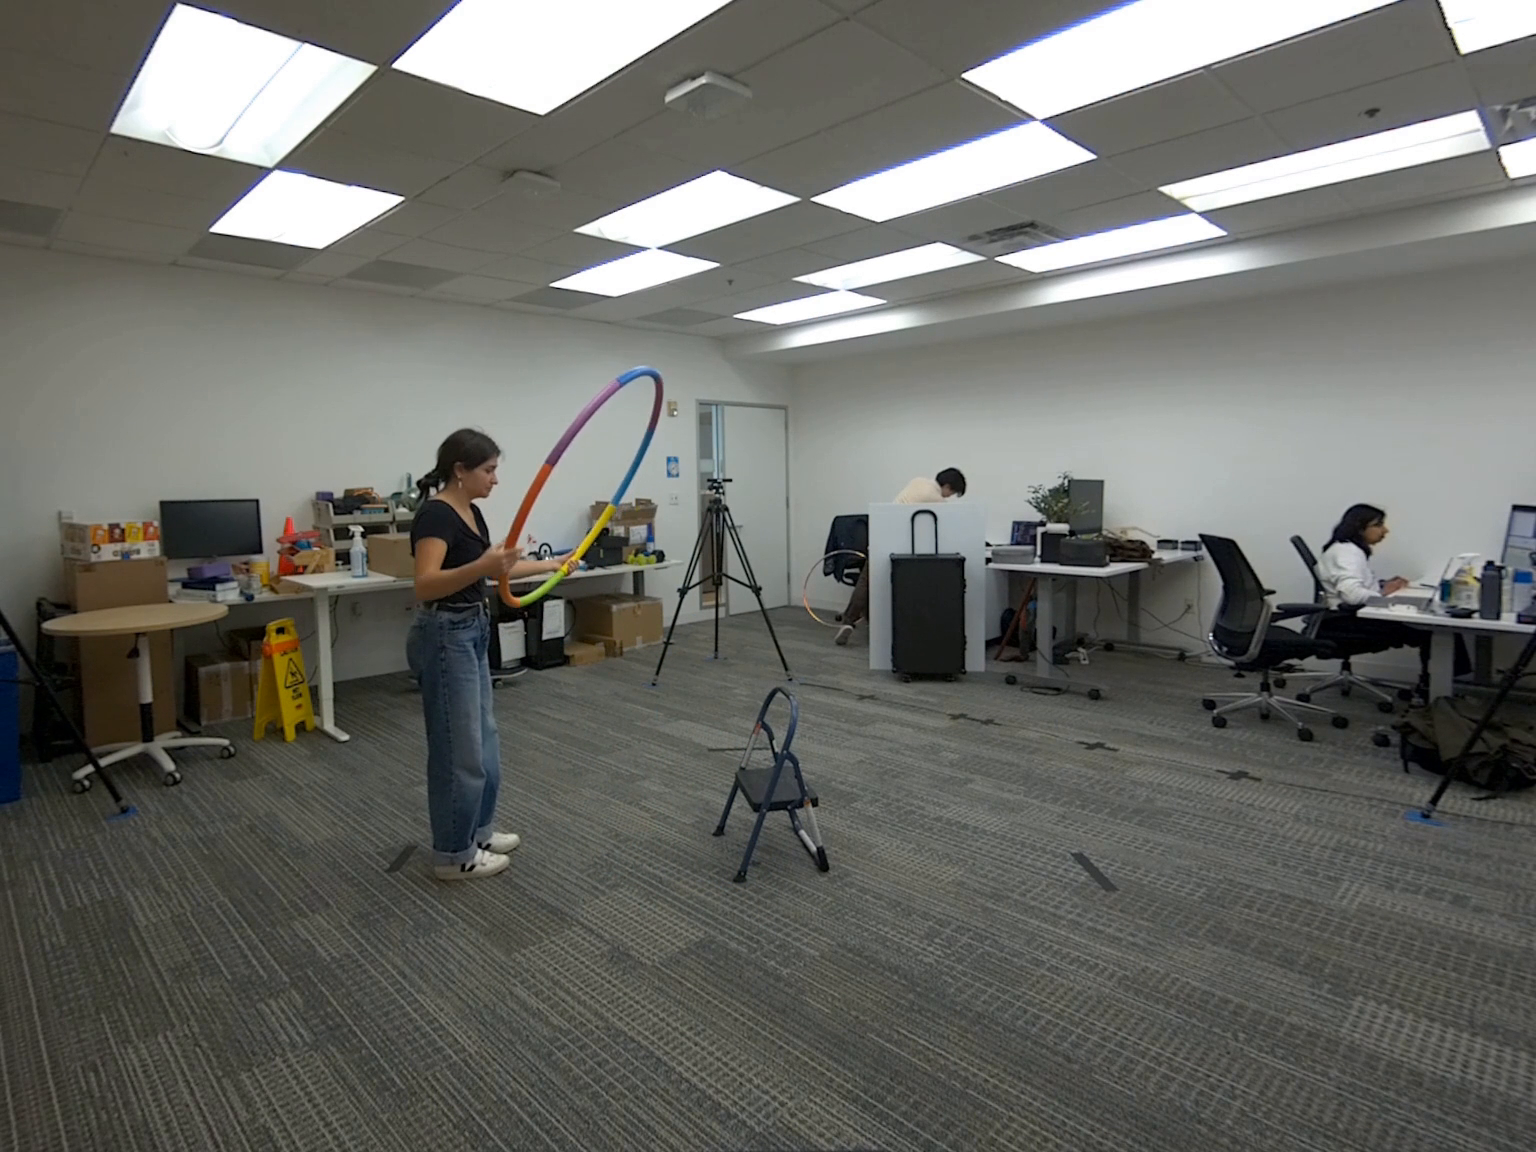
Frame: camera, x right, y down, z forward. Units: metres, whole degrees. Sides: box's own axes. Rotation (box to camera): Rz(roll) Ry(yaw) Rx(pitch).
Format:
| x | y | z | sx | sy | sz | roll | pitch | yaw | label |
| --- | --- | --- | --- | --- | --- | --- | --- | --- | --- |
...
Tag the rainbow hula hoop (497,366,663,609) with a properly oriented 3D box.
| x | y | z | sx | sy | sz | roll | pitch | yaw | label |
| --- | --- | --- | --- | --- | --- | --- | --- | --- | --- |
| -0.650 | -0.298 | 3.063 | 0.036 | 0.976 | 0.975 | 31 | 8 | 2 | rainbow hula hoop |
